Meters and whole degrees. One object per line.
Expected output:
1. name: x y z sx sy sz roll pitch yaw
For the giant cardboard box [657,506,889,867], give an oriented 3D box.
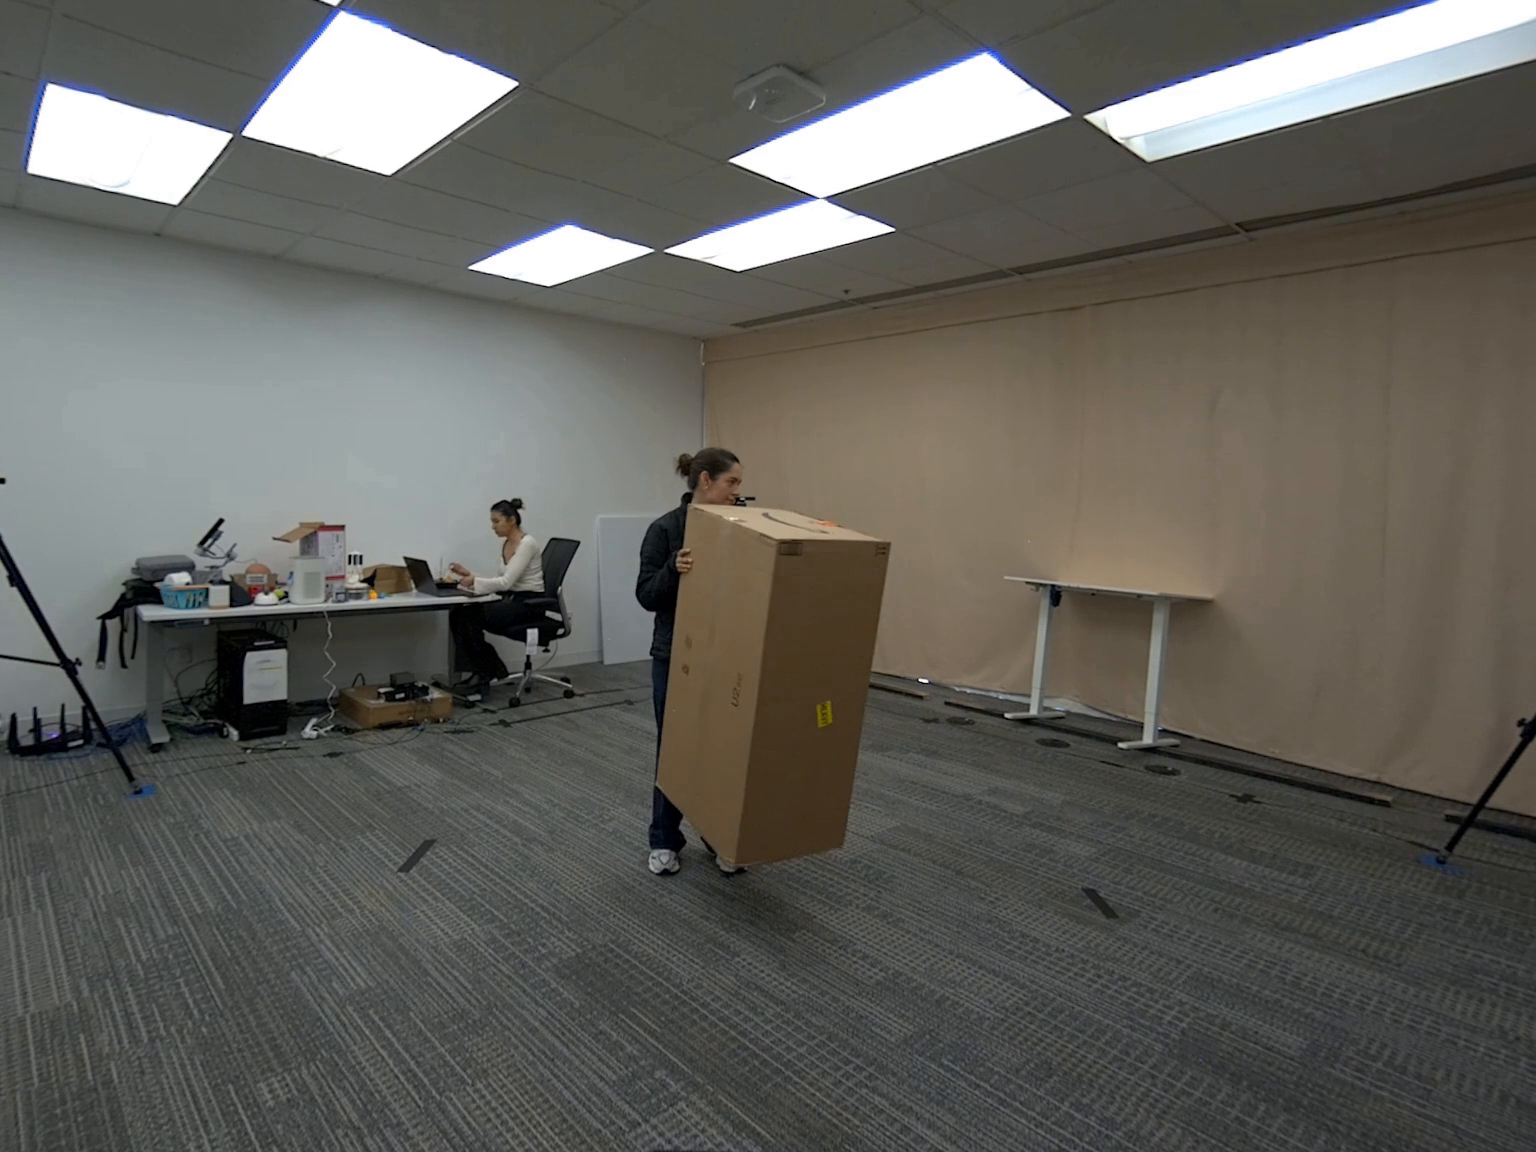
1. giant cardboard box: -0.012 0.329 2.782 0.417 1.019 0.593 1 12 -31
